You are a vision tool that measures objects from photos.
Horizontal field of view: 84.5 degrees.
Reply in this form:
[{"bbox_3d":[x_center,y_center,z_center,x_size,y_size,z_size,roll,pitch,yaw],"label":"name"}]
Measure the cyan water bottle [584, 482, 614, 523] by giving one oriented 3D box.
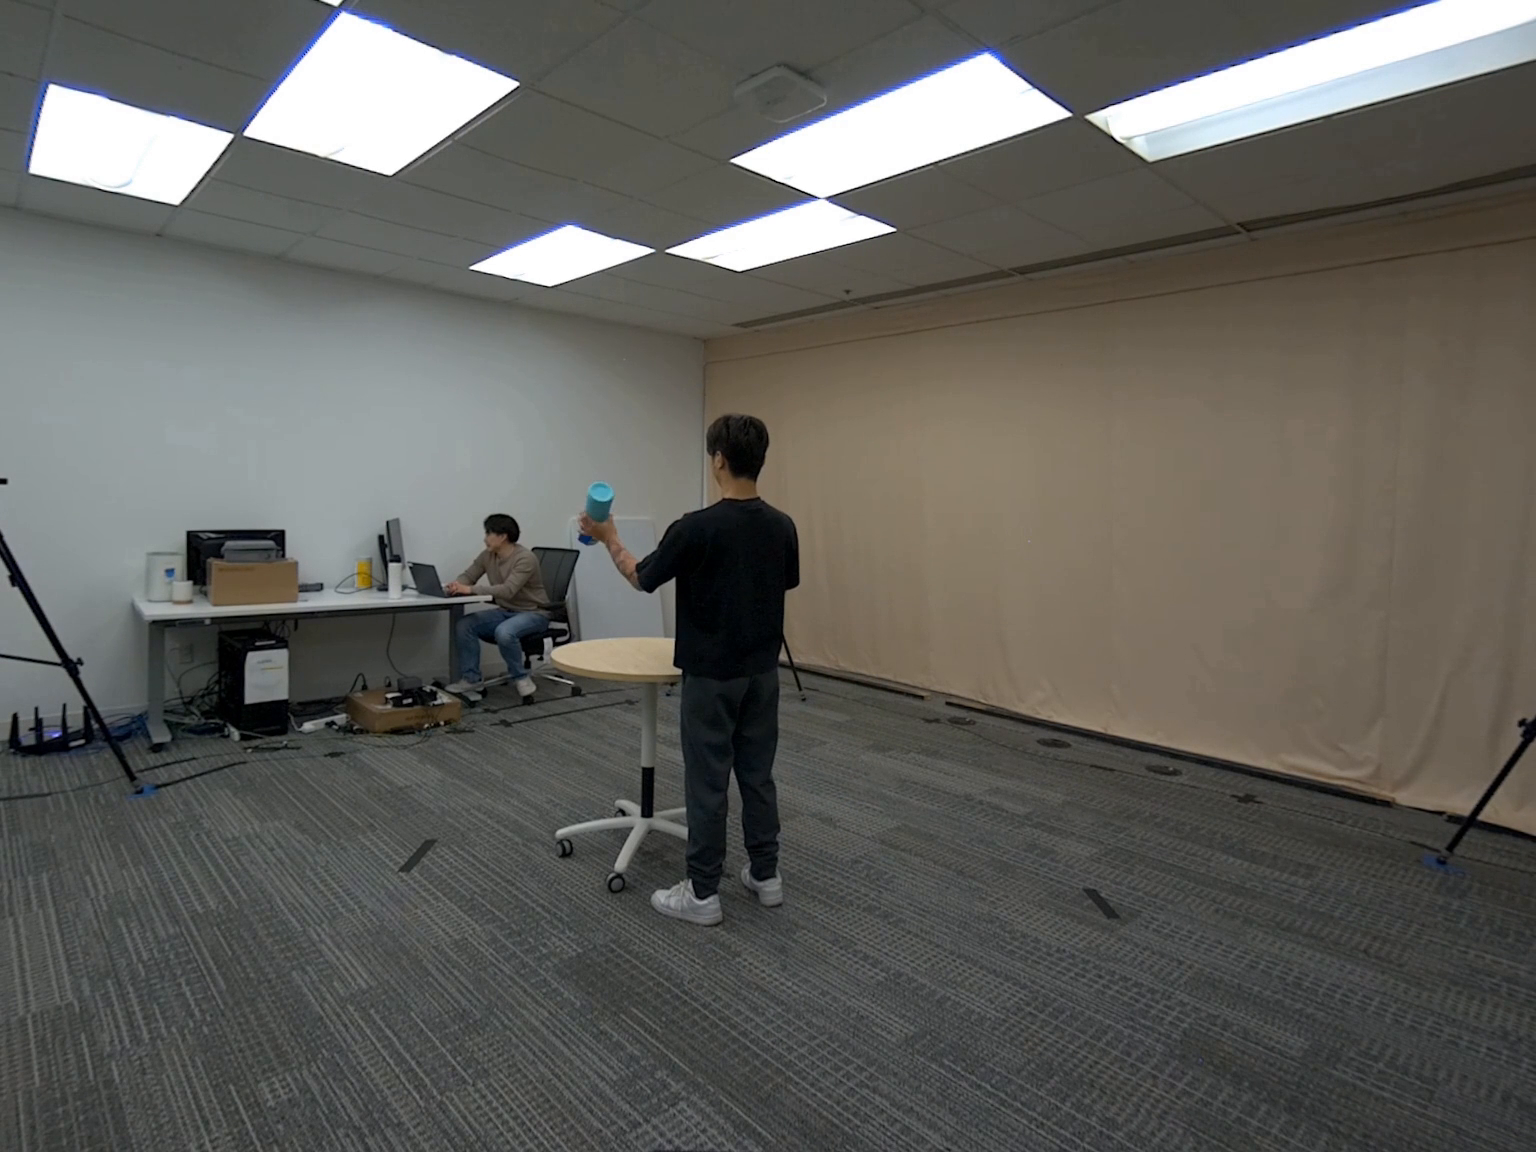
[{"bbox_3d":[-0.602,-0.208,2.974,0.091,0.094,0.280,1,-35,-15],"label":"cyan water bottle"}]
